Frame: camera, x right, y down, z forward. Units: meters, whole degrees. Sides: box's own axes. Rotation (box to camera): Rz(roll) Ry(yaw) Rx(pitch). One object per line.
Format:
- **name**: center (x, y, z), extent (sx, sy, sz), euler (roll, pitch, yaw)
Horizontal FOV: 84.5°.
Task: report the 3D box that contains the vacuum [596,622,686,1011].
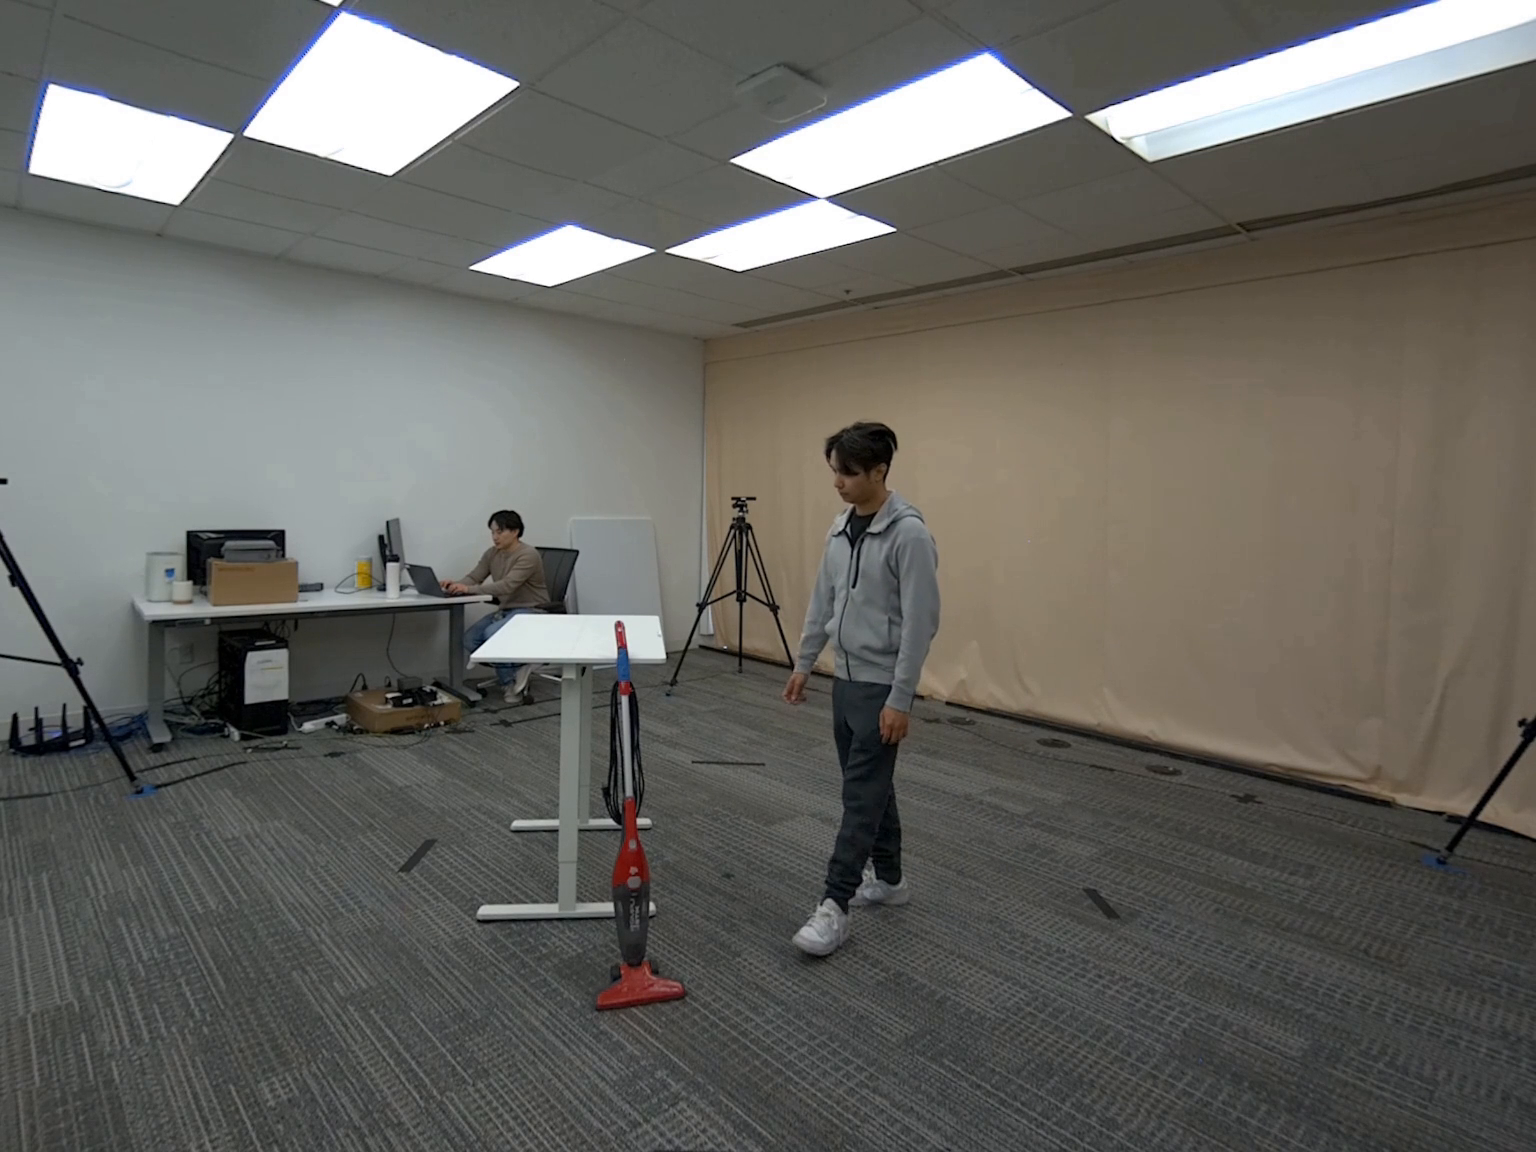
- **vacuum**: center (-0.429, 0.671, 2.518), extent (0.248, 1.064, 0.144), euler (1, -19, -22)
